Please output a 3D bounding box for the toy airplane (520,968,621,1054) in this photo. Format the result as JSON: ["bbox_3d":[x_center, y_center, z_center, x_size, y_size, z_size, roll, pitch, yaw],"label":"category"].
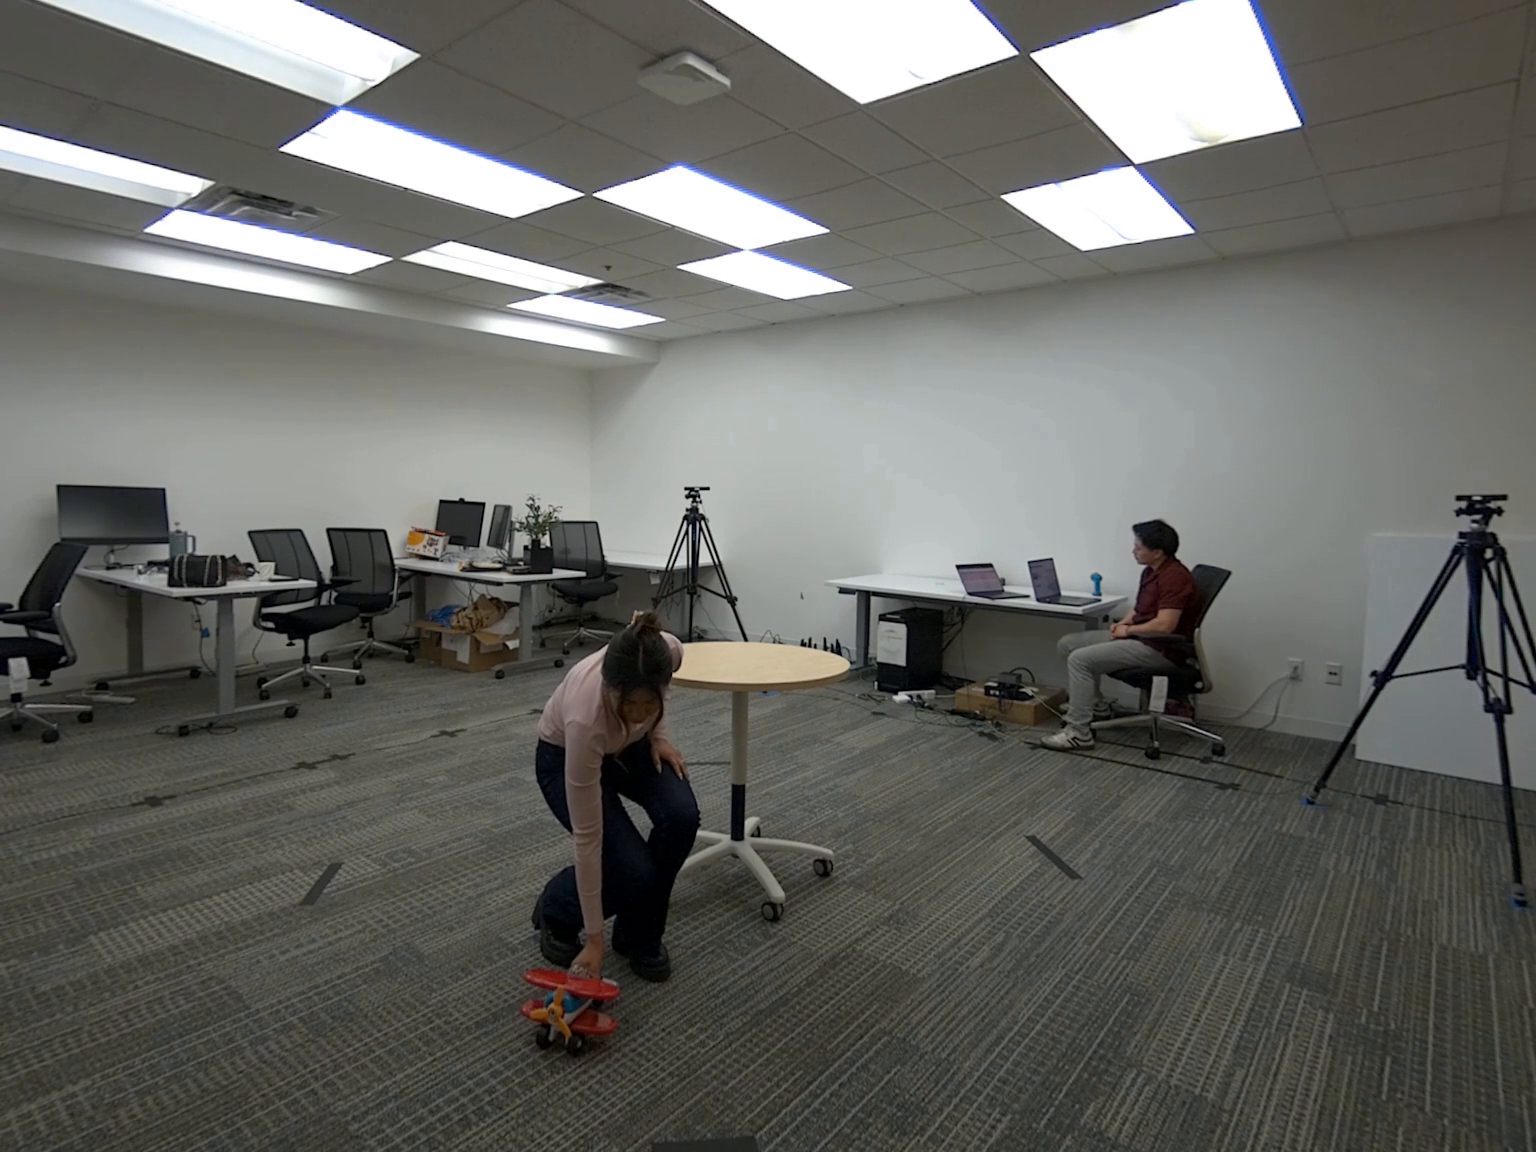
[{"bbox_3d":[-0.519,1.079,2.176,0.247,0.155,0.265,0,8,-17],"label":"toy airplane"}]
